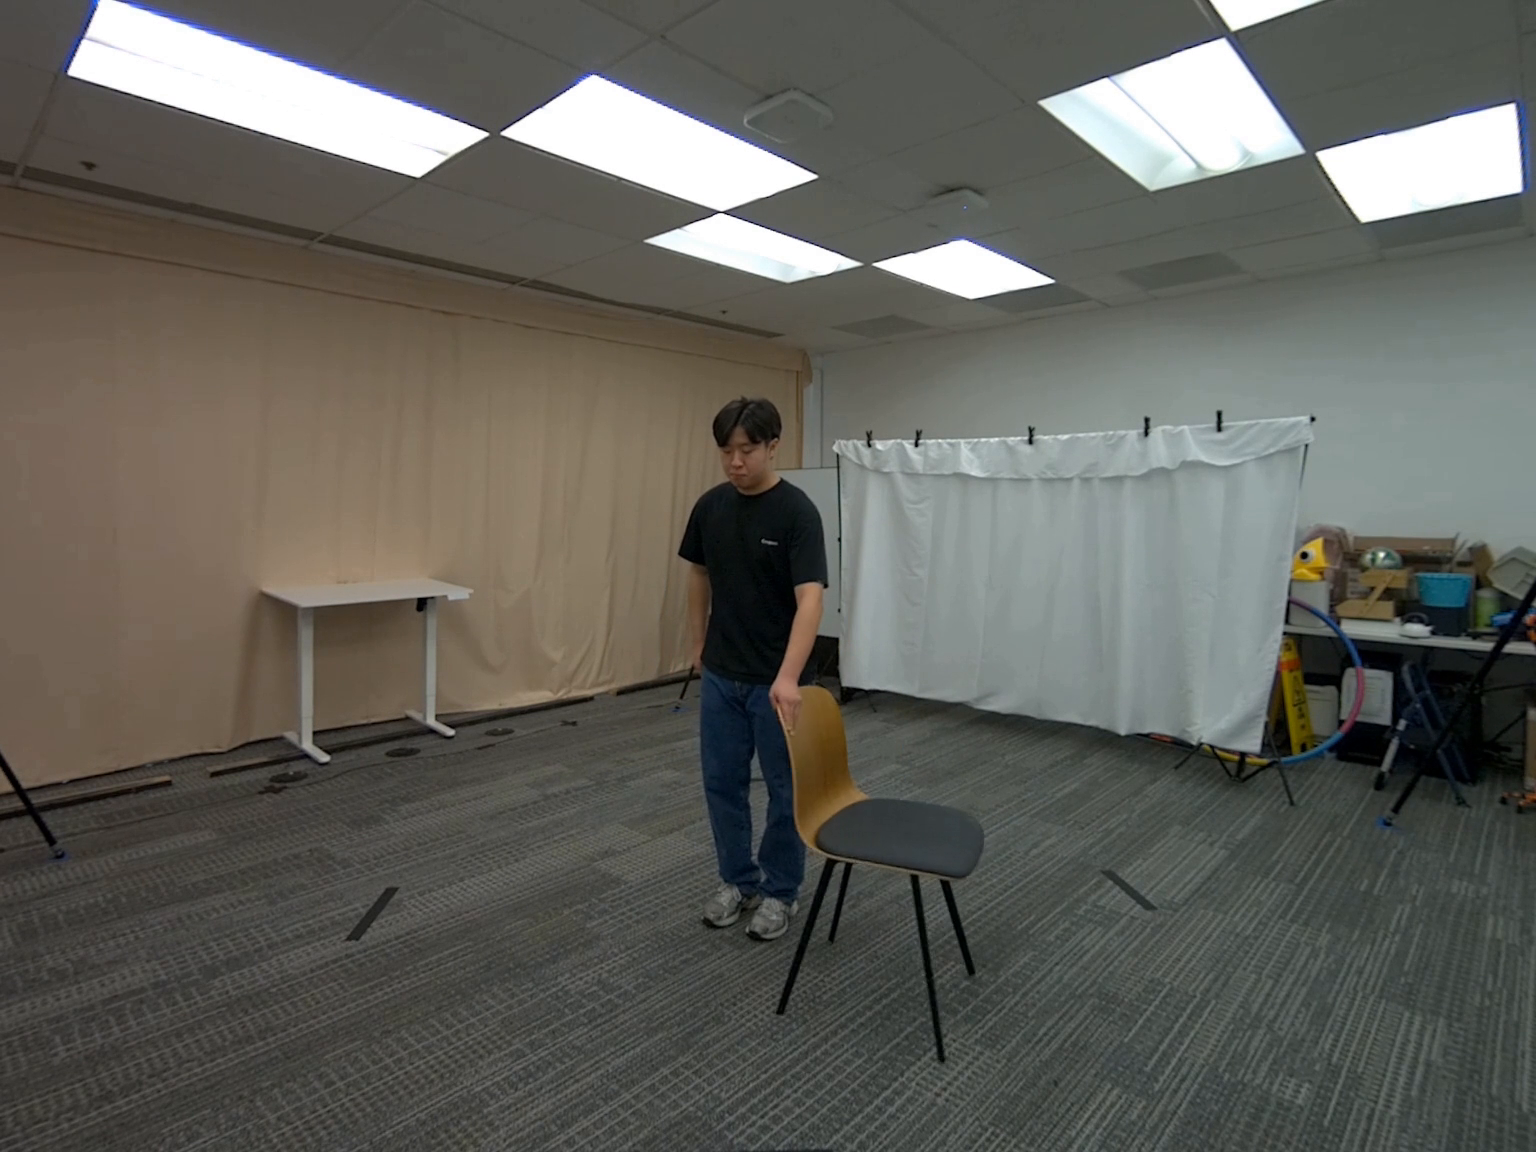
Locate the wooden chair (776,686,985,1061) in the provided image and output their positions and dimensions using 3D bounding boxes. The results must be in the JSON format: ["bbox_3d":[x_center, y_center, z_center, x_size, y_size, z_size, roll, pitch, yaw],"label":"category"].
[{"bbox_3d":[0.334,0.767,2.375,0.536,0.877,0.467,-3,1,25],"label":"wooden chair"}]
